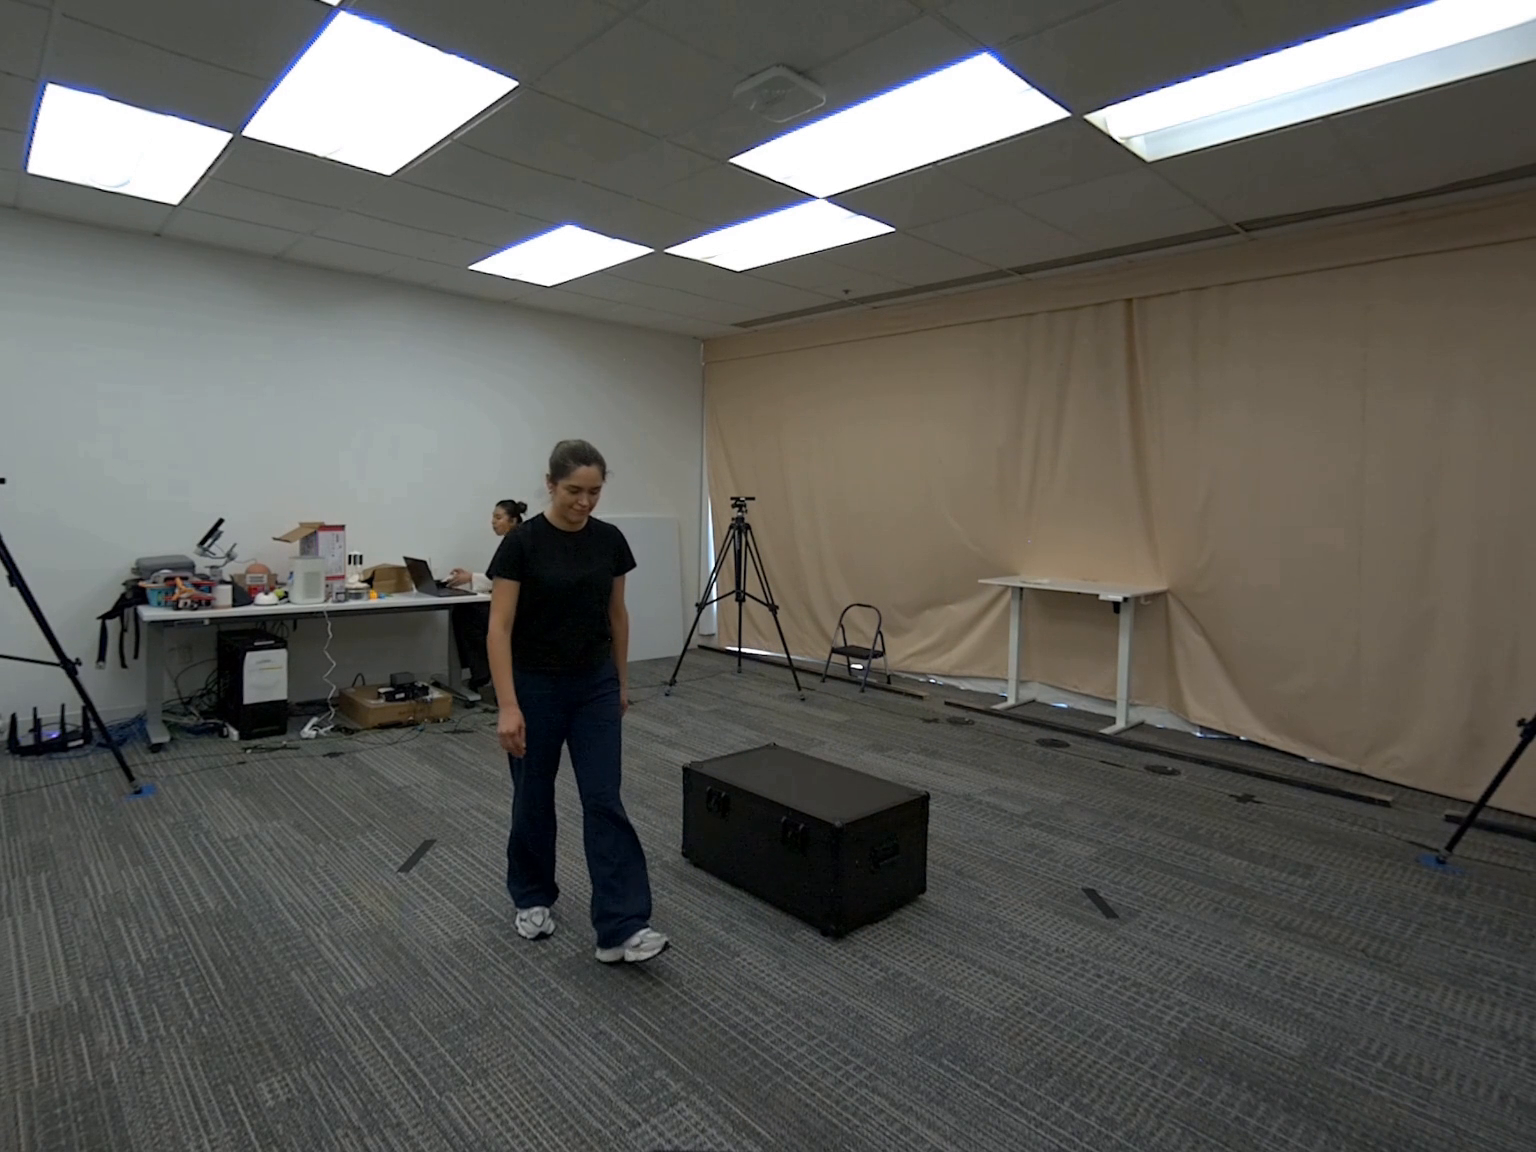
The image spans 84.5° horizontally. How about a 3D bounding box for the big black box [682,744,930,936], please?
[{"bbox_3d":[0.094,0.924,3.086,0.509,0.395,0.884,-2,7,-44],"label":"big black box"}]
